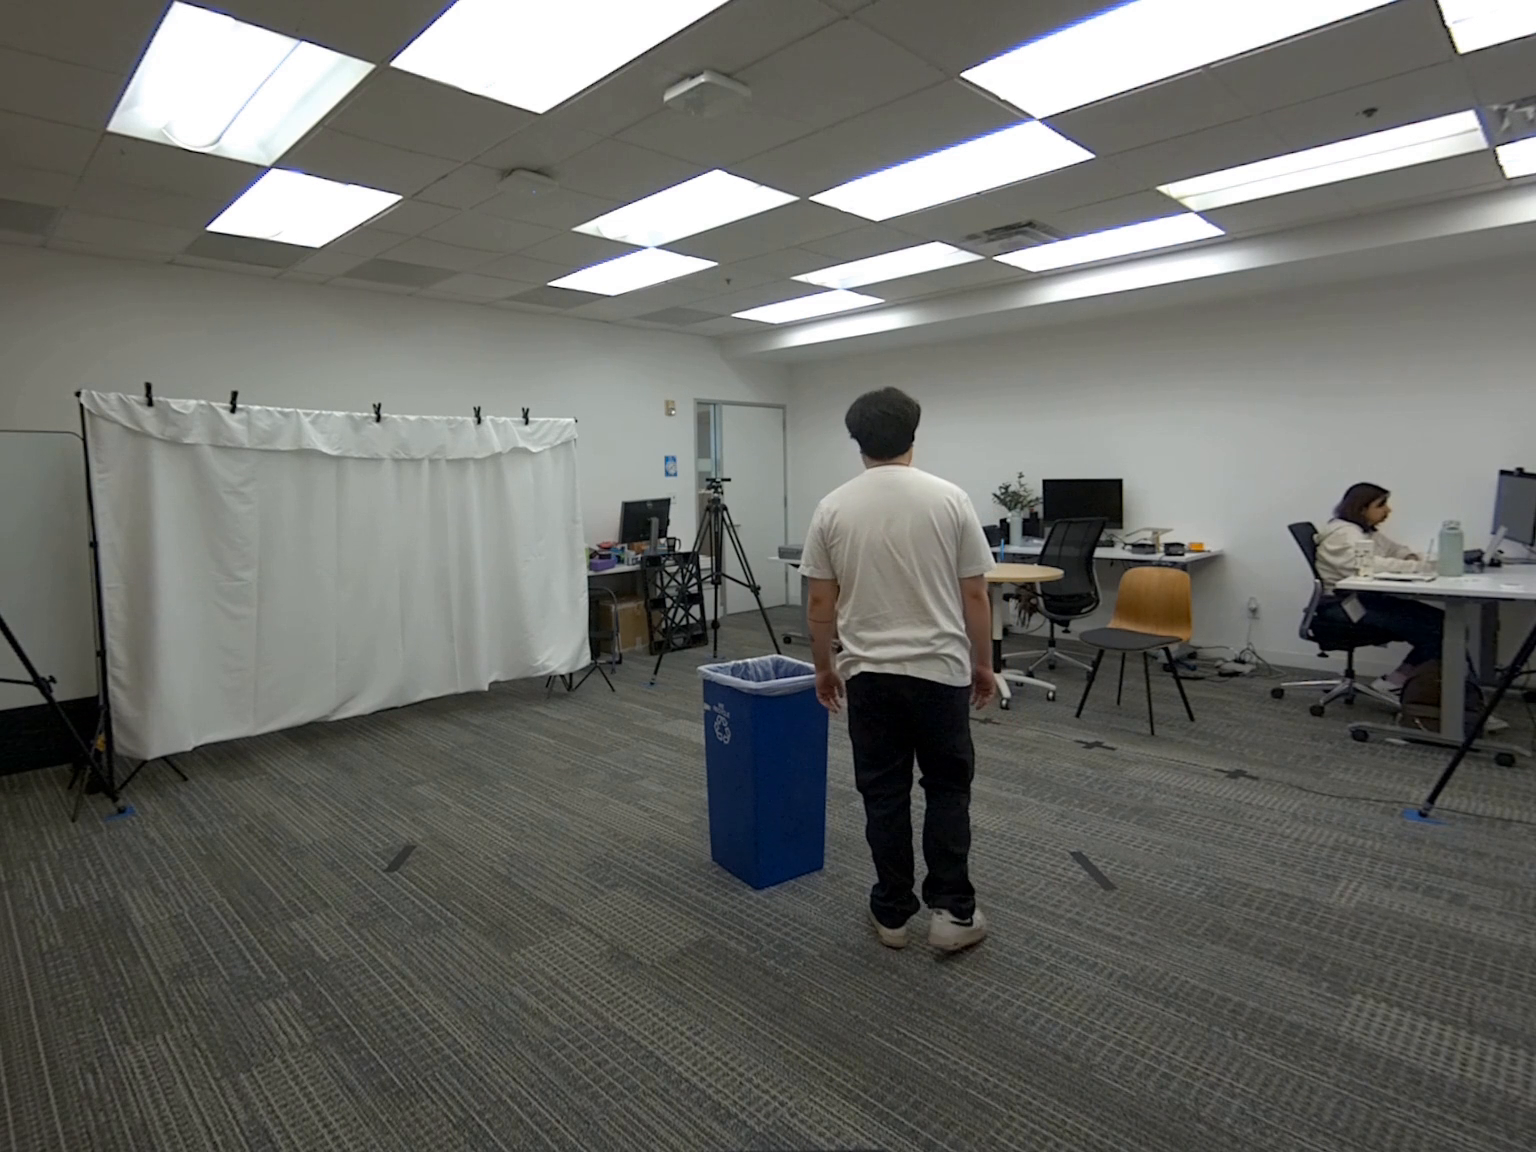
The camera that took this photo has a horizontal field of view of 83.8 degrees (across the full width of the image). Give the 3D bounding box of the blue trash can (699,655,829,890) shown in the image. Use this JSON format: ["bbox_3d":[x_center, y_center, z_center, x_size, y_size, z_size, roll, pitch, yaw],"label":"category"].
[{"bbox_3d":[0.000,0.687,3.070,0.368,0.711,0.385,-4,5,-35],"label":"blue trash can"}]
